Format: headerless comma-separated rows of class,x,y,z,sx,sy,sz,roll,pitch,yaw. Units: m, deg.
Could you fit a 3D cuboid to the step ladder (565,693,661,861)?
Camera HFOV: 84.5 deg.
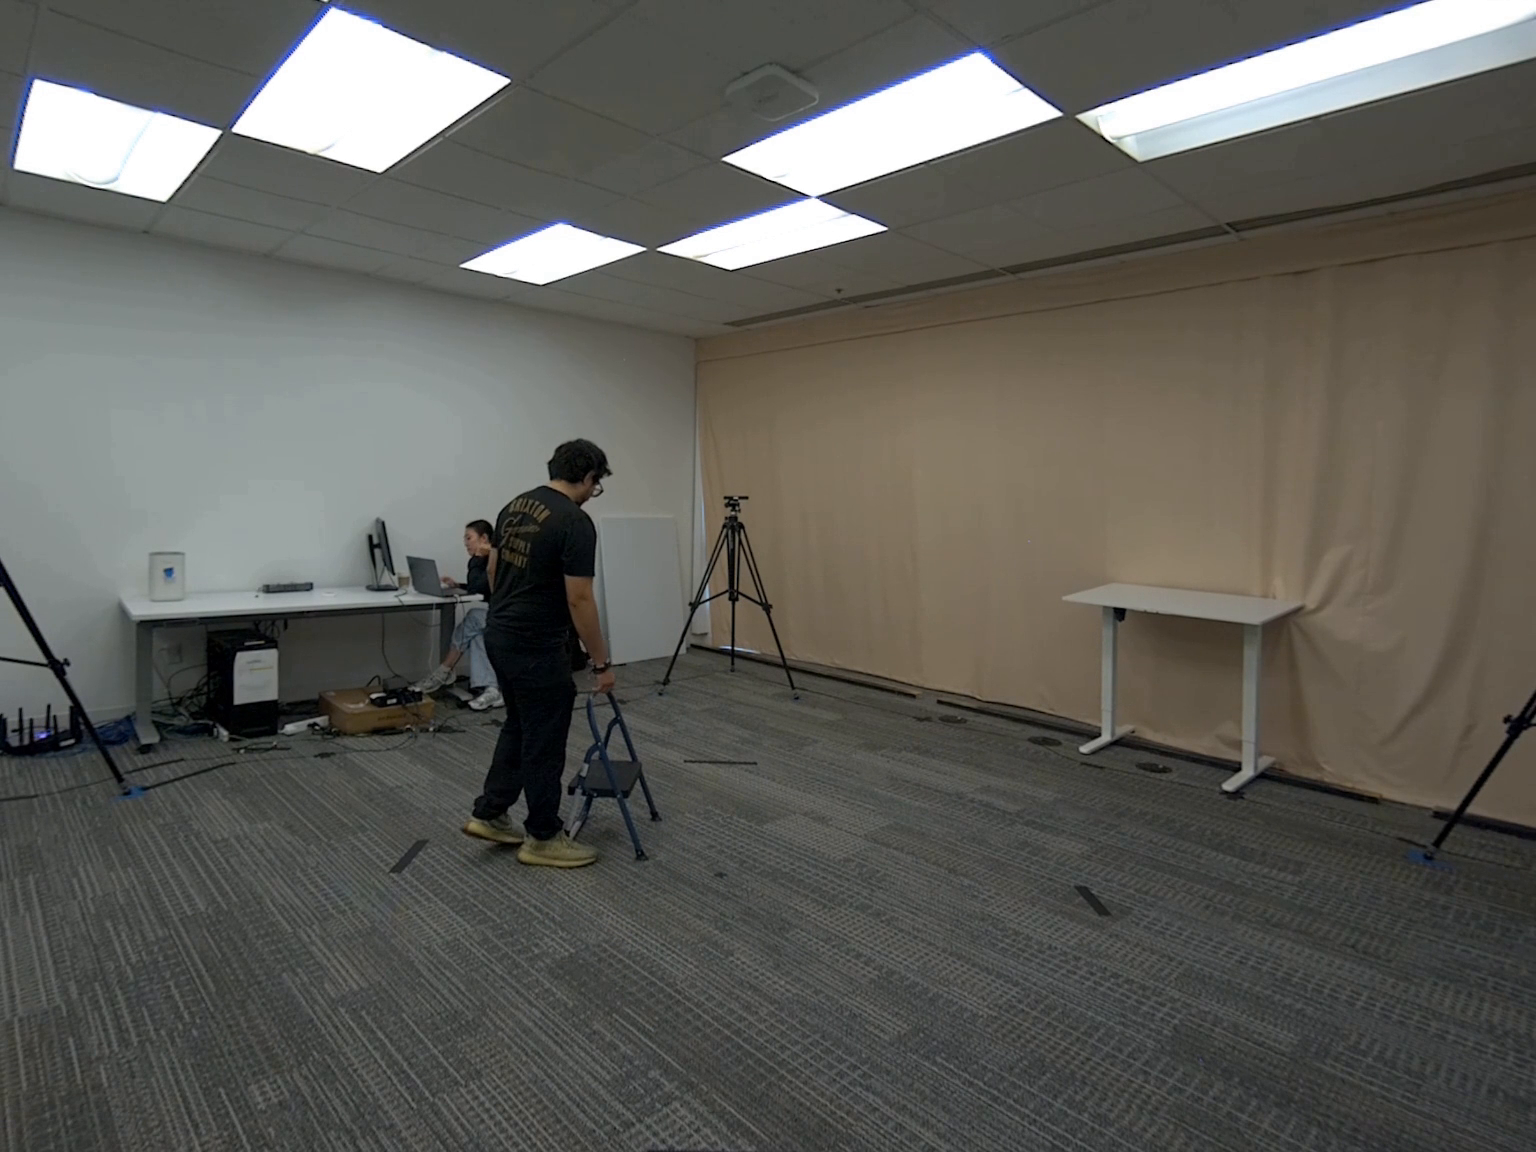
step ladder,-0.633,0.766,3.425,0.350,0.604,0.431,3,4,0
